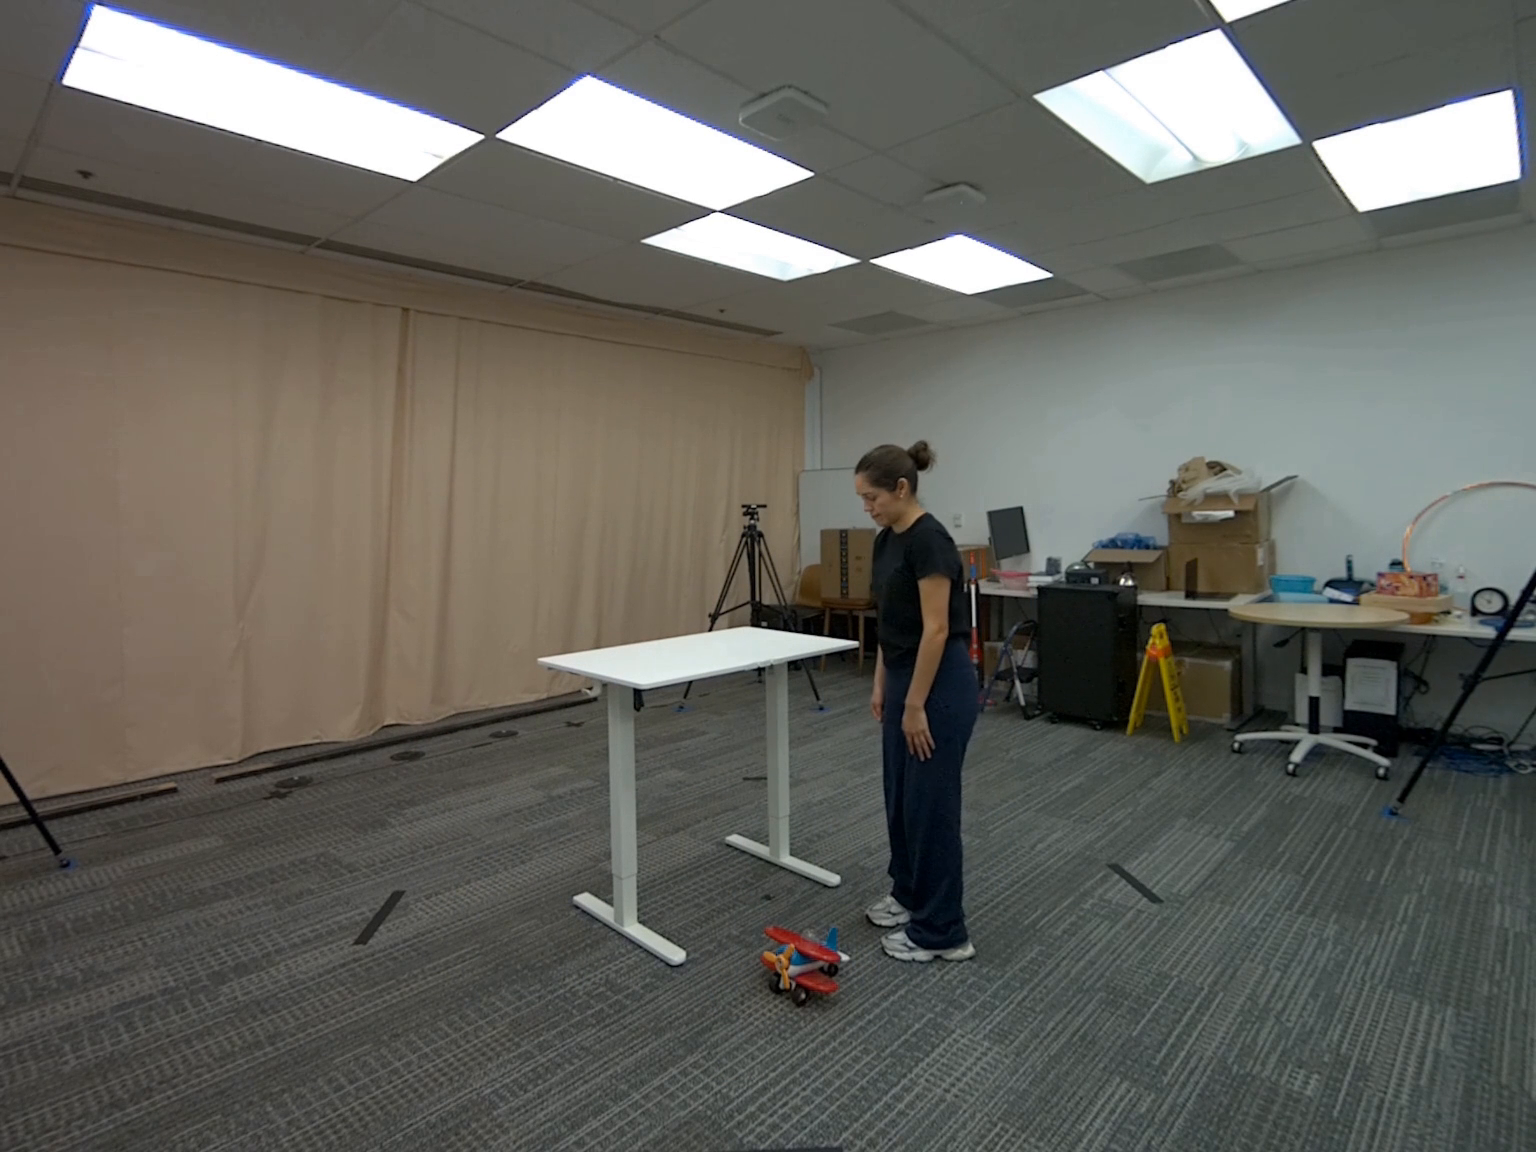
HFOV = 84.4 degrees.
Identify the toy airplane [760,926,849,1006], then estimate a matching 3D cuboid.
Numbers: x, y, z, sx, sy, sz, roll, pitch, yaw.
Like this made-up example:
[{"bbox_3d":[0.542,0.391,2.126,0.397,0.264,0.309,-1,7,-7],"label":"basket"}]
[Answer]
[{"bbox_3d":[0.119,1.109,2.441,0.255,0.156,0.255,-1,6,16],"label":"toy airplane"}]
